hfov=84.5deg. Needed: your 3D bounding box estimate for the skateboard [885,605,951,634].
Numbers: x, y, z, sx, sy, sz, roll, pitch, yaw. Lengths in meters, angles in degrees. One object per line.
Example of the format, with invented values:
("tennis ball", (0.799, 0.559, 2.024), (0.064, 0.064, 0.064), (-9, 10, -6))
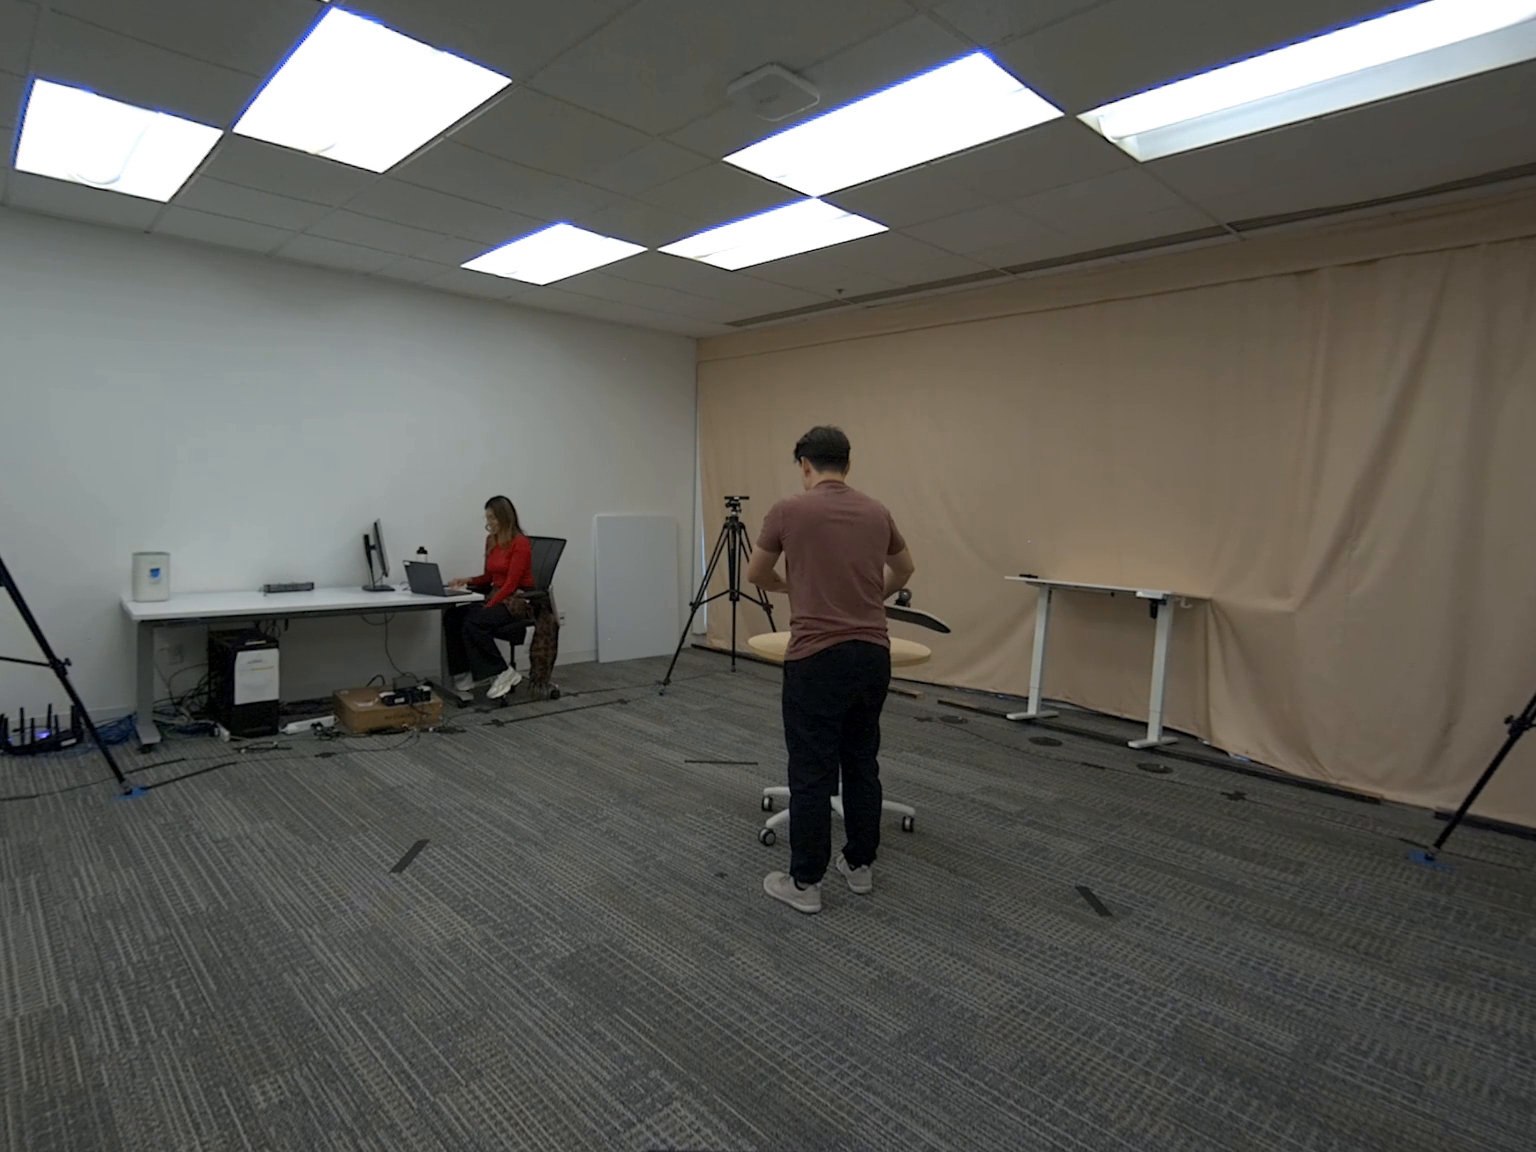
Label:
("skateboard", (0.340, 0.093, 3.343), (0.796, 0.111, 0.189), (14, -15, 14))
